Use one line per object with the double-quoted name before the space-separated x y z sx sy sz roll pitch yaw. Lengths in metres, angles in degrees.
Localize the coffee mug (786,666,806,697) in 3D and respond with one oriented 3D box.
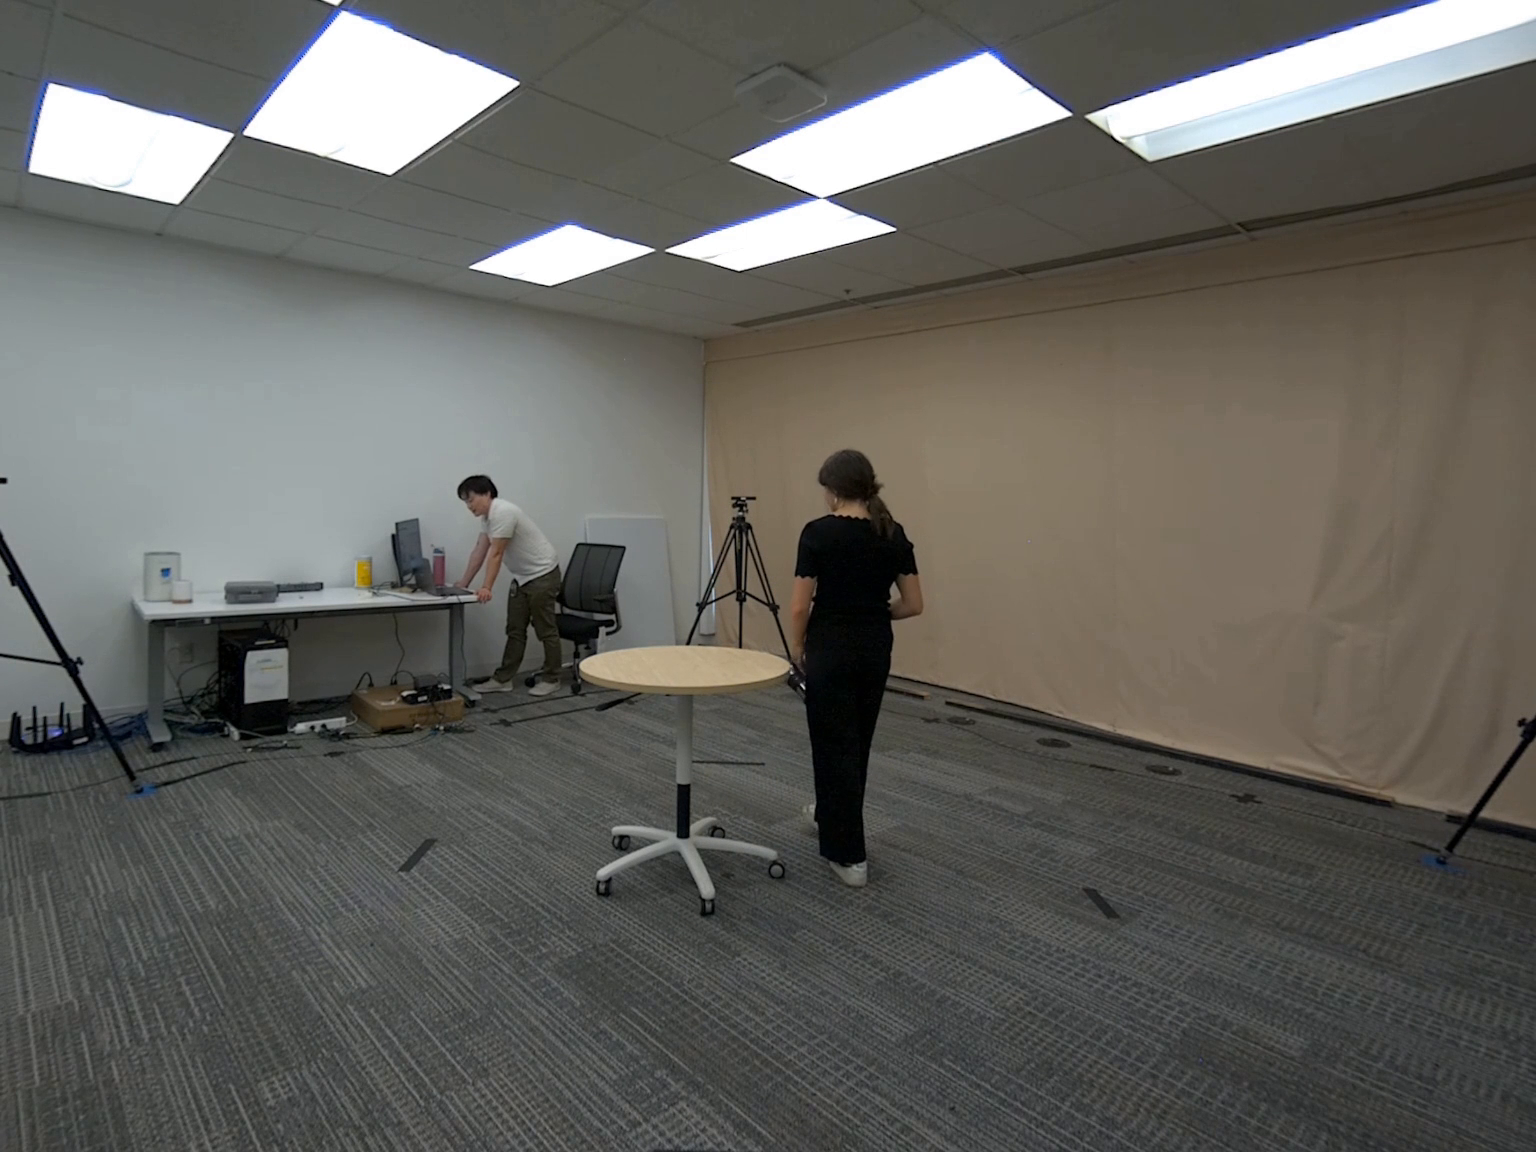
"coffee mug" 0.111 0.403 3.279 0.088 0.118 0.209 -36 42 -6
